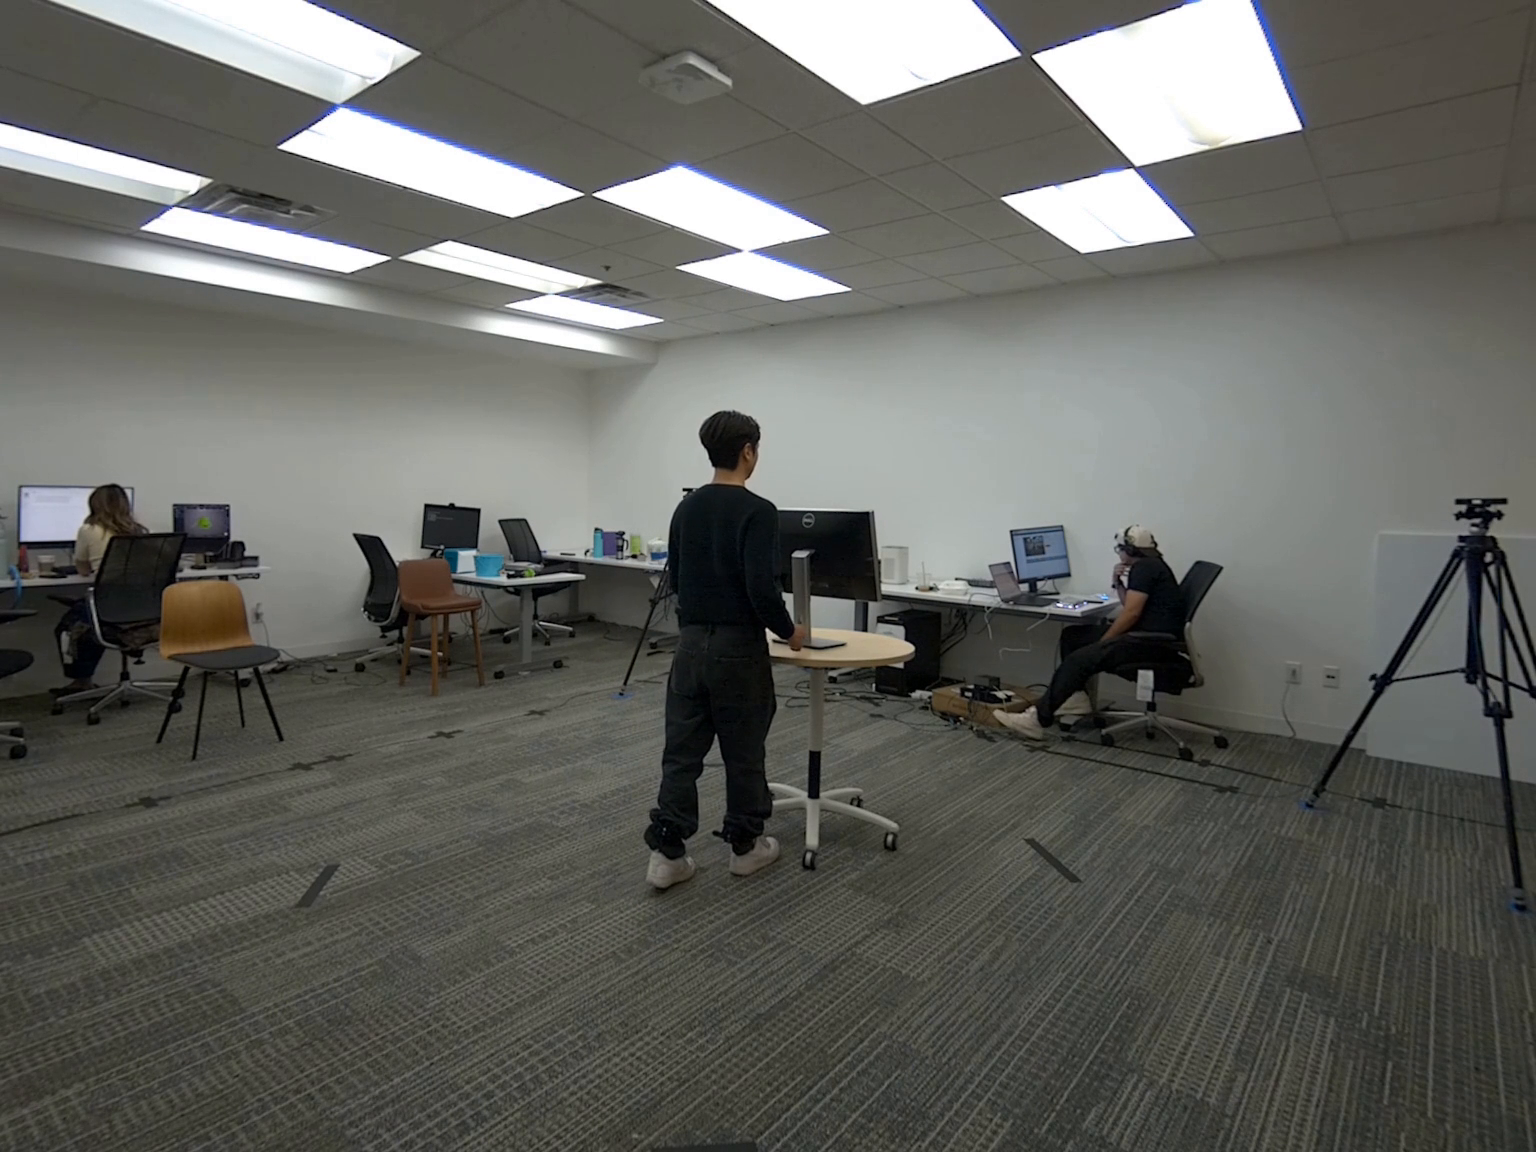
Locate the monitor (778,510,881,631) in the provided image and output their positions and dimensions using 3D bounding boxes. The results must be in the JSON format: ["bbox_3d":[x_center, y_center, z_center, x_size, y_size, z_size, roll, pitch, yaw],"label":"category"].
[{"bbox_3d":[0.168,-0.003,3.415,0.547,0.517,0.169,2,-3,39],"label":"monitor"}]
